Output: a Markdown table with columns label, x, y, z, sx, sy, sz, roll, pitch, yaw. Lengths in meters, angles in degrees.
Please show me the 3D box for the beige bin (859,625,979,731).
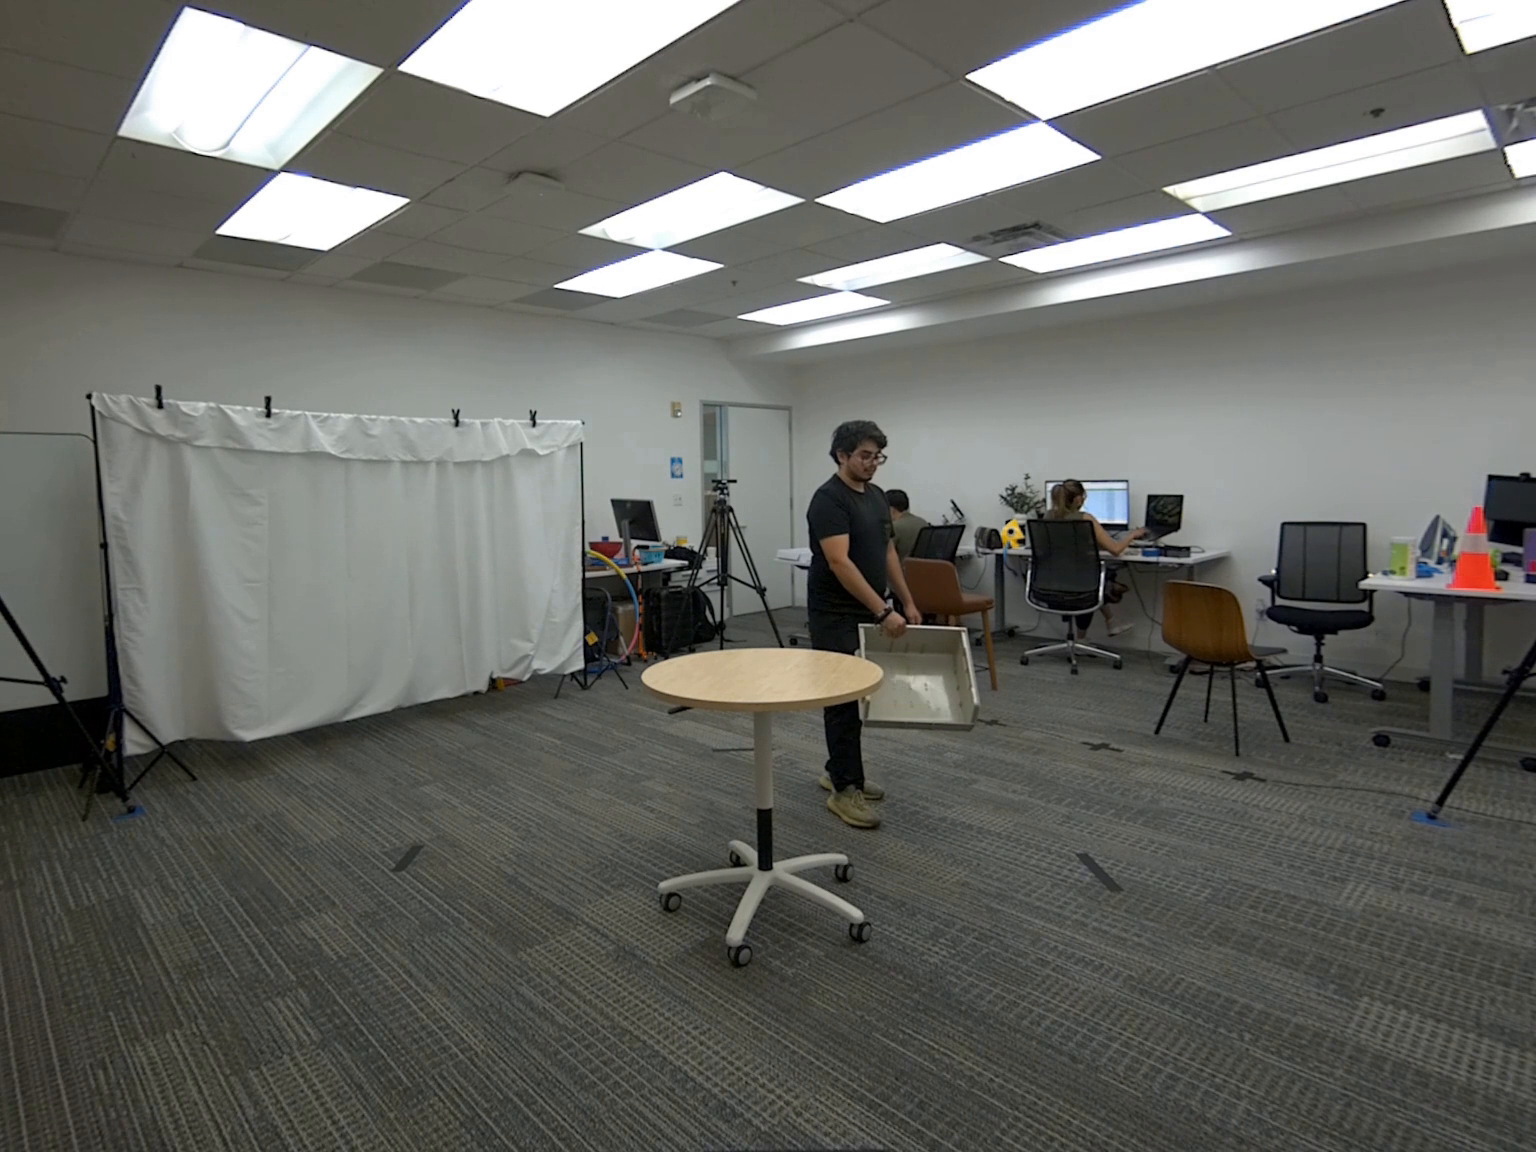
| label | x | y | z | sx | sy | sz | roll | pitch | yaw |
| --- | --- | --- | --- | --- | --- | --- | --- | --- | --- |
| beige bin | 0.567 | 0.397 | 3.300 | 0.423 | 0.387 | 0.184 | 0 | -41 | 2 |
